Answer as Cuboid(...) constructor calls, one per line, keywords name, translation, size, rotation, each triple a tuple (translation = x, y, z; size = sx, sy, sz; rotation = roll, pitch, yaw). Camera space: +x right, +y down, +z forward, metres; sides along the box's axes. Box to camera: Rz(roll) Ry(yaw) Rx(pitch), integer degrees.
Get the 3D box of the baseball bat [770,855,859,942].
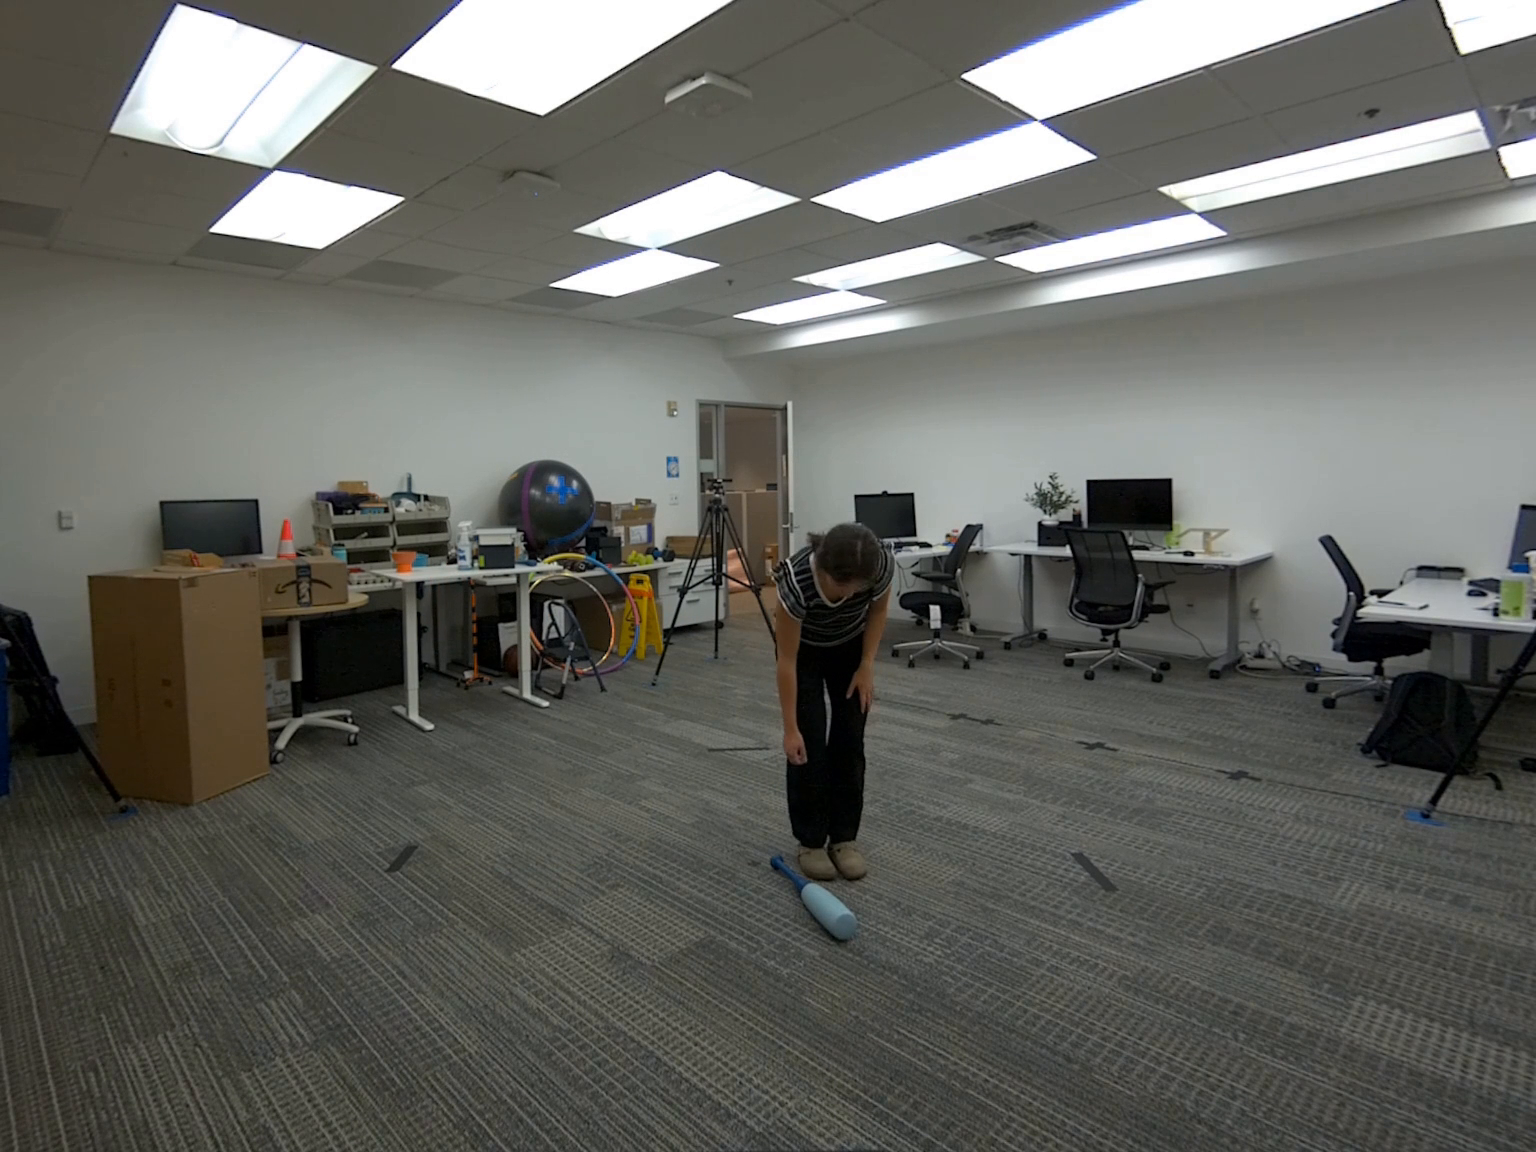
Cuboid(name="baseball bat", translation=(0.137, 1.045, 2.811), size=(0.087, 0.089, 0.554), rotation=(-3, 3, -21))
